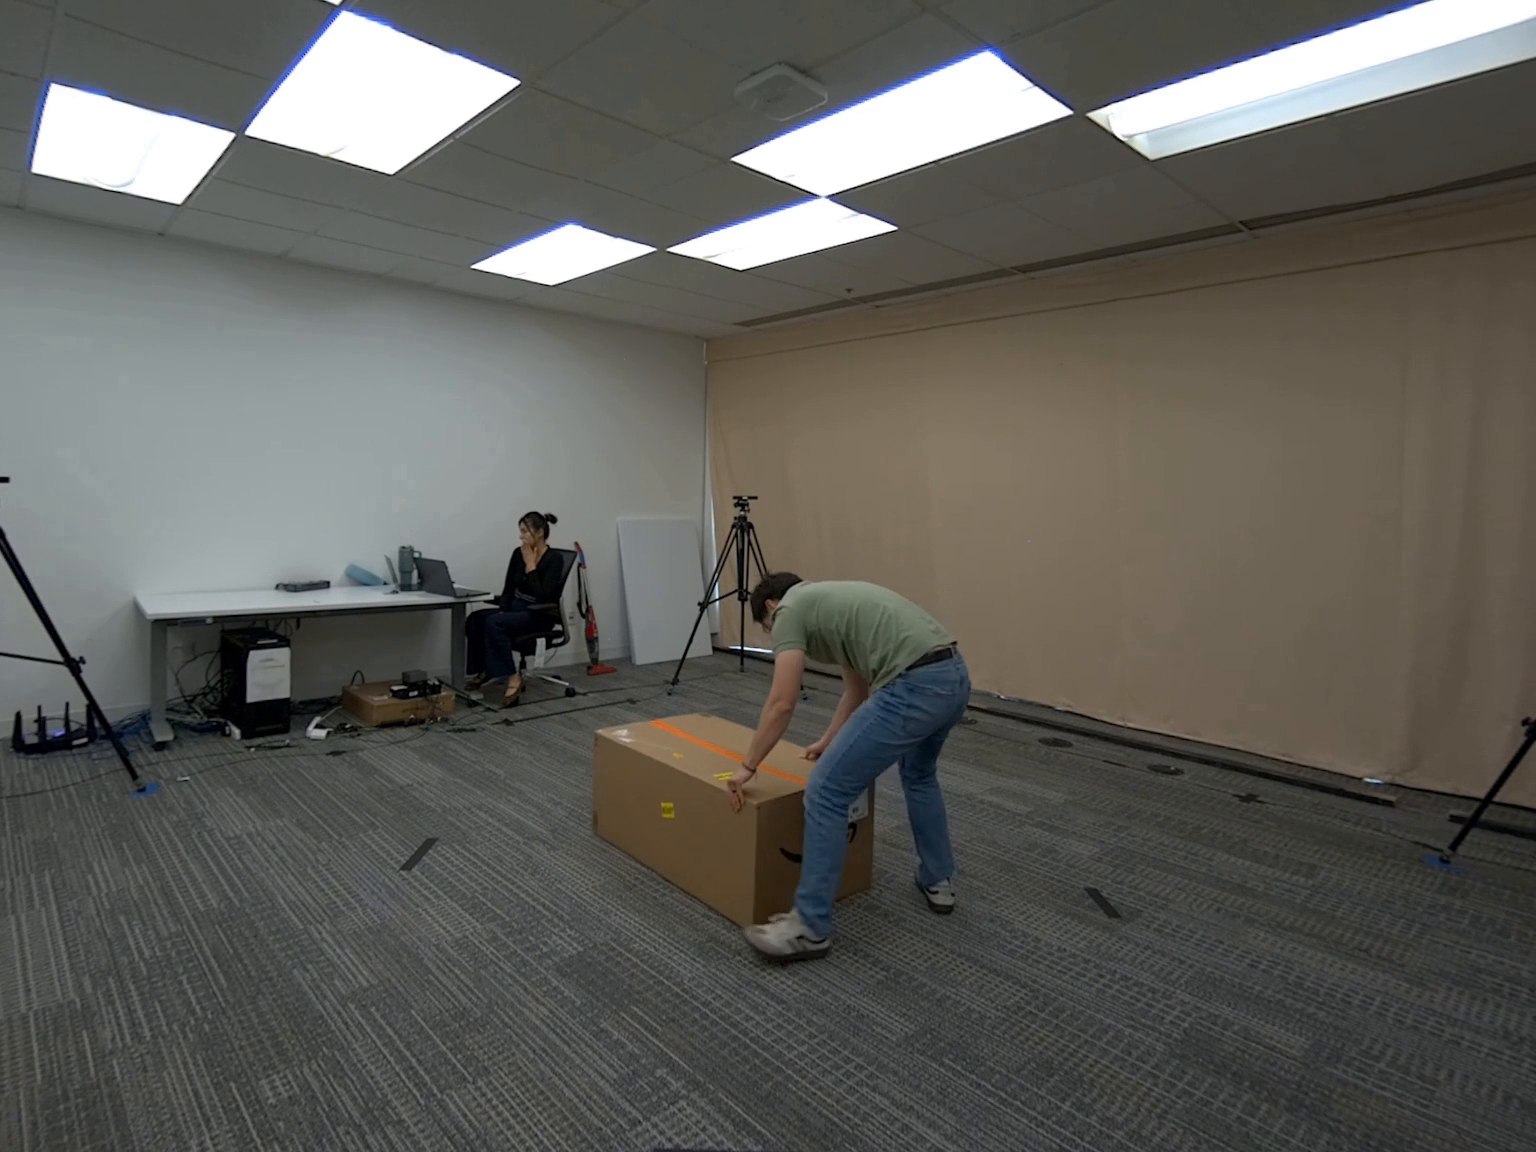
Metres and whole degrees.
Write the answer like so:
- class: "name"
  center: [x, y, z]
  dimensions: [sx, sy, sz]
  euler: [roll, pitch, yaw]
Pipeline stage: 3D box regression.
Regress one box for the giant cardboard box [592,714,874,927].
- class: "giant cardboard box"
  center: [-0.175, 0.880, 3.241]
  dimensions: [0.564, 0.425, 1.052]
  euler: [-3, 7, -40]
